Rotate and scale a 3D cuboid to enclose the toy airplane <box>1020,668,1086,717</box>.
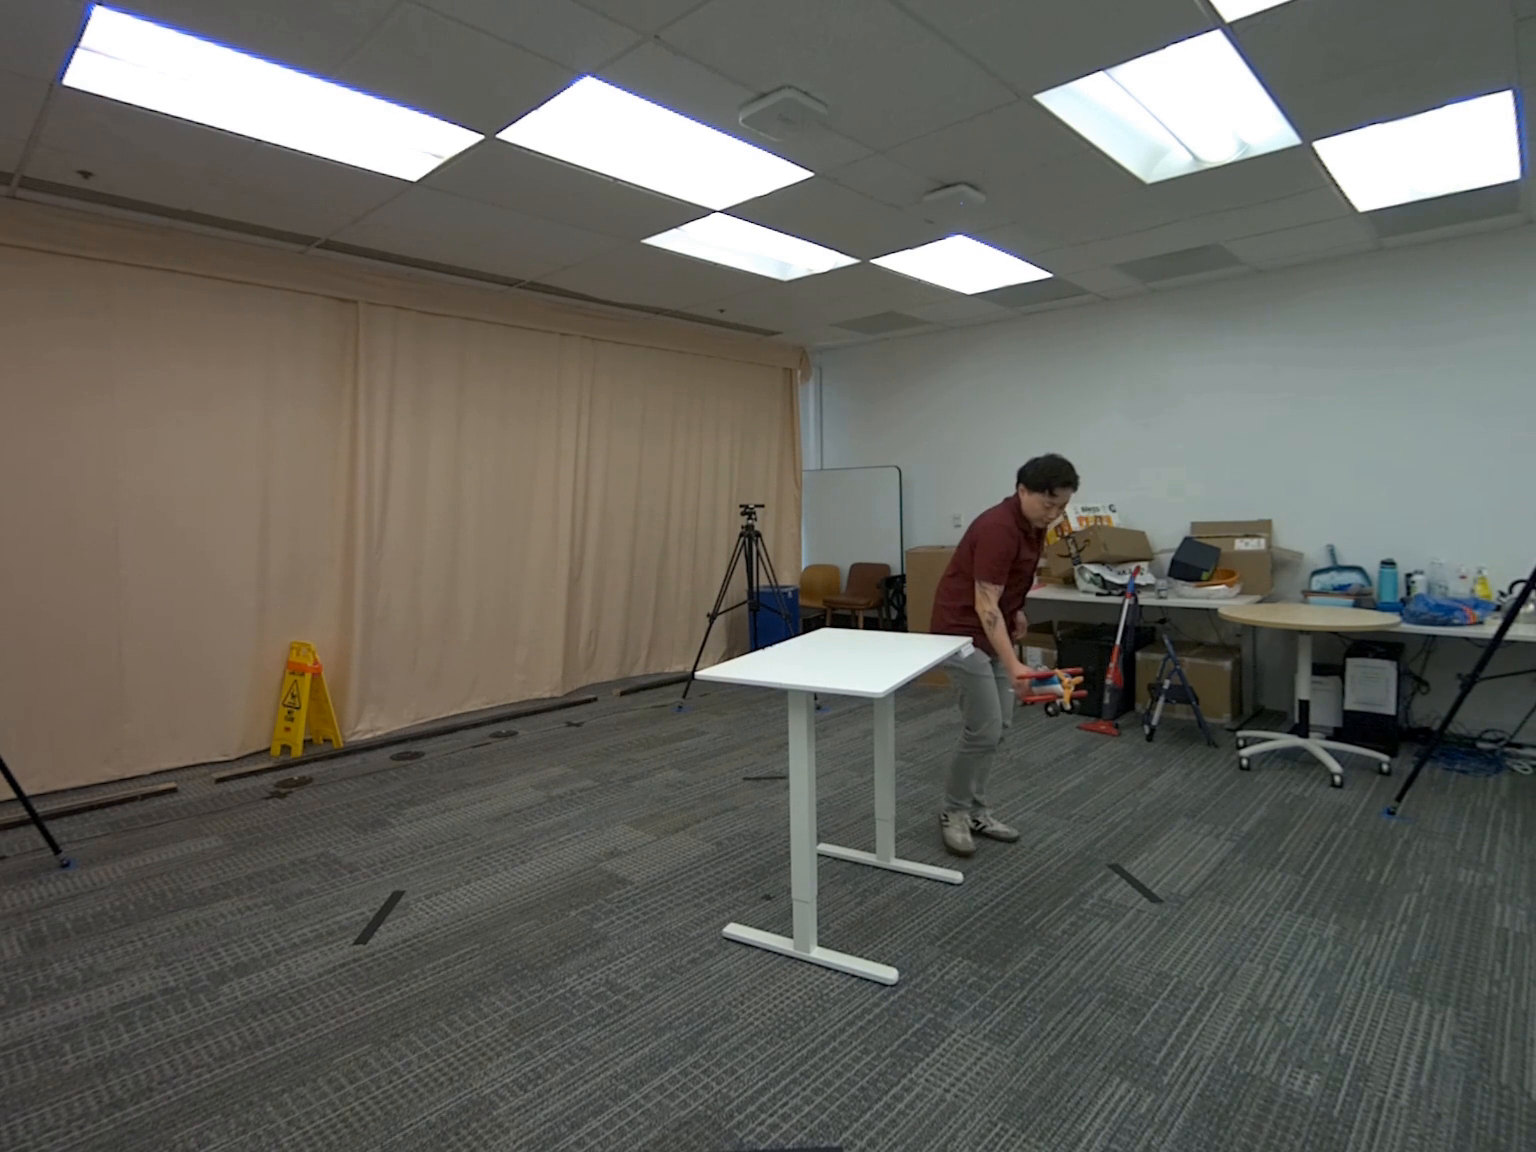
[{"bbox_3d":[0.966,0.409,2.976,0.268,0.156,0.243,4,7,44],"label":"toy airplane"}]
